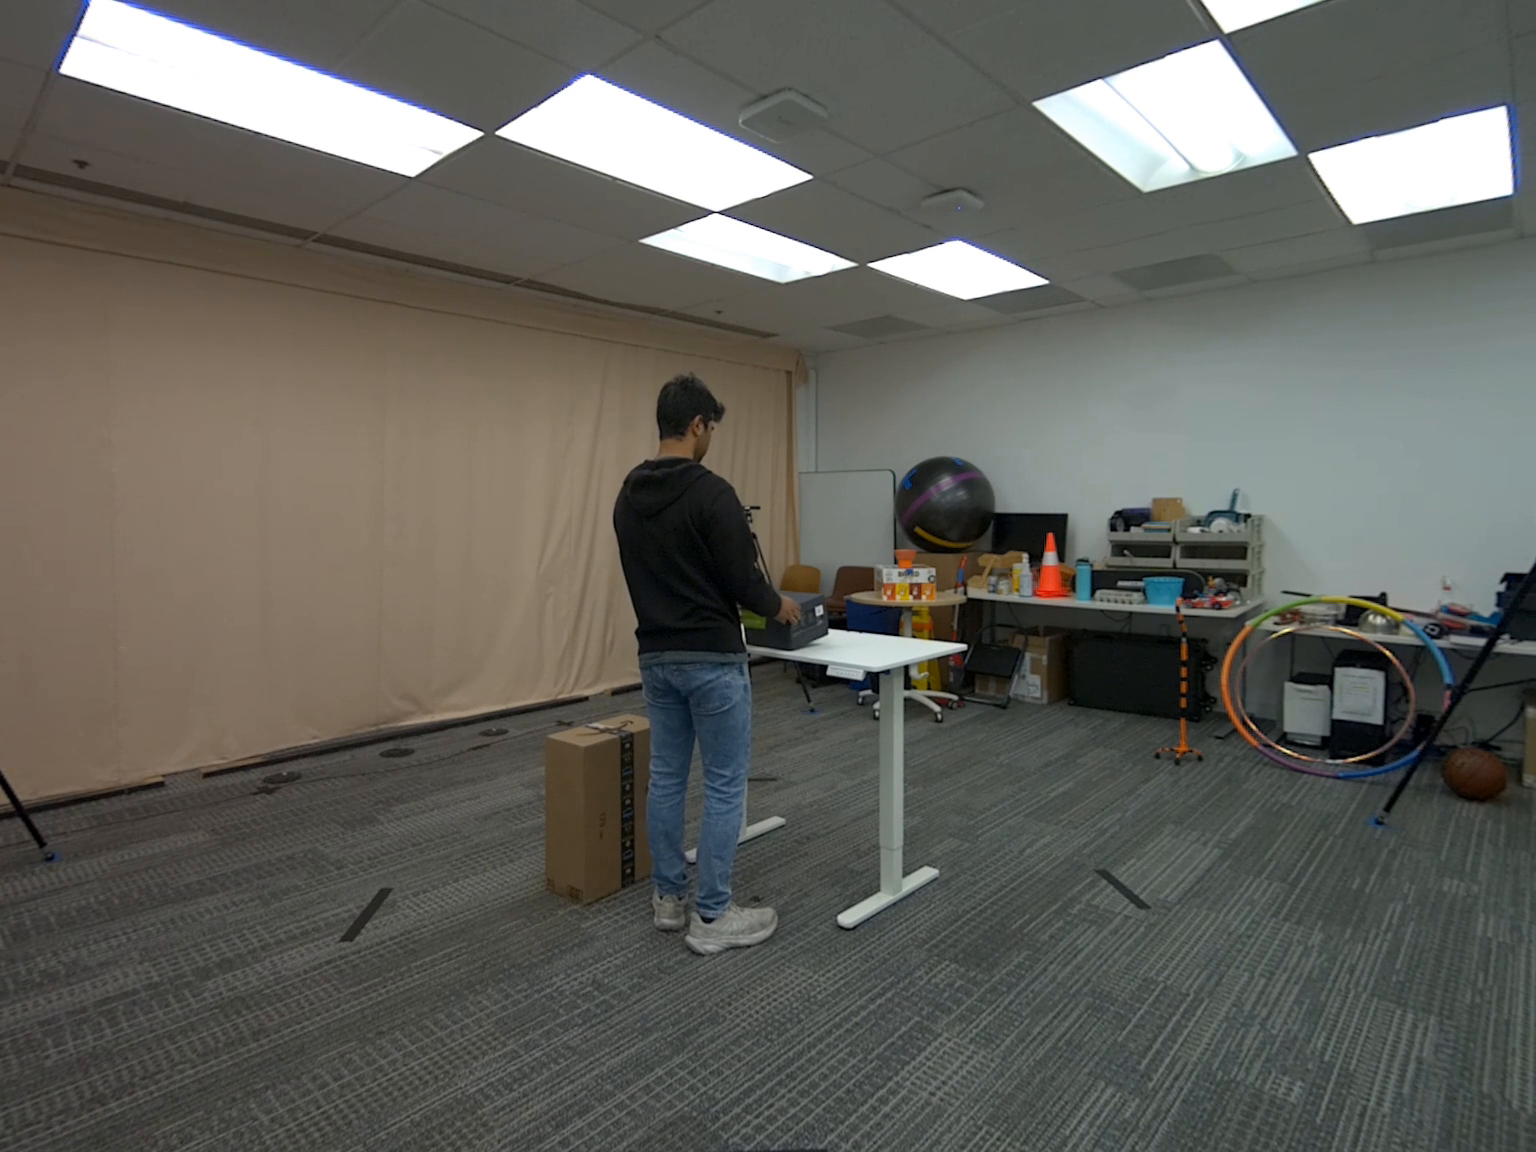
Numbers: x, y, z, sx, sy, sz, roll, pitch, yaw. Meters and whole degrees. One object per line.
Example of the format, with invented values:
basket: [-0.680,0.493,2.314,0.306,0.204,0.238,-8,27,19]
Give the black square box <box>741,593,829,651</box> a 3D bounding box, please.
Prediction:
black square box: [0.063,0.154,3.089,0.235,0.155,0.211,4,15,44]
